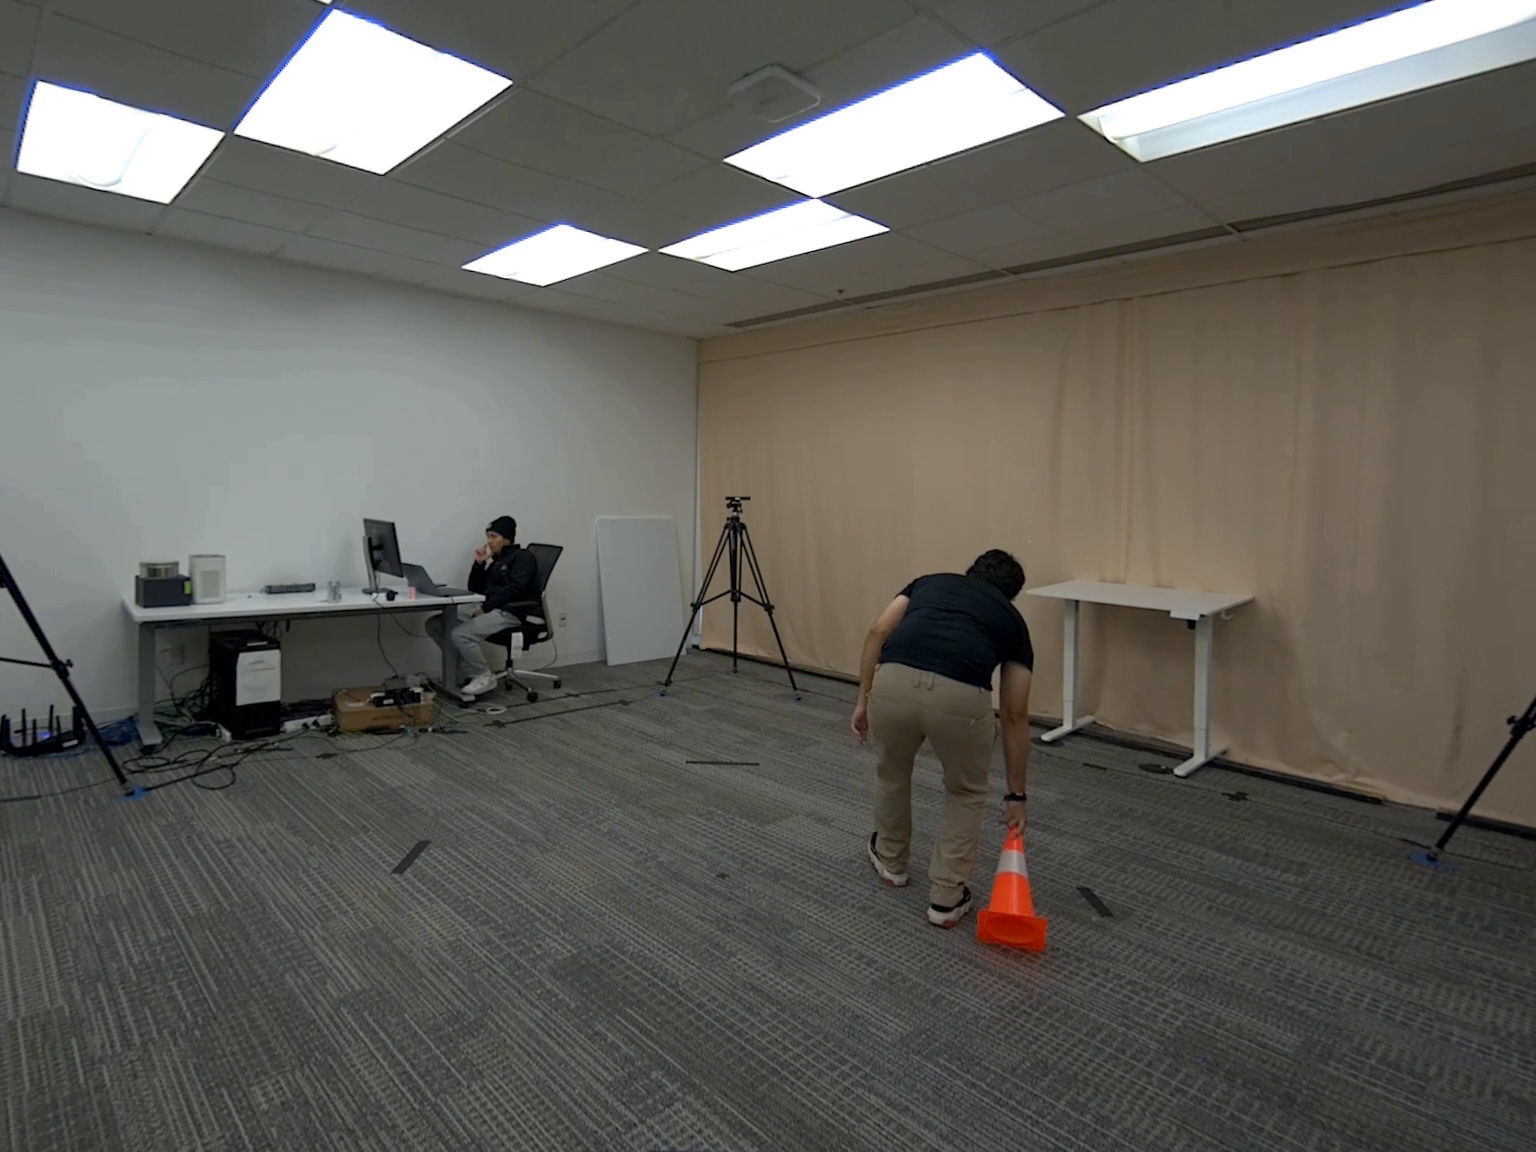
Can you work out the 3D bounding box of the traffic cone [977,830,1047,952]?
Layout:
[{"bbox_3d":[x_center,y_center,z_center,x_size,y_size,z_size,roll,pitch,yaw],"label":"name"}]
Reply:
[{"bbox_3d":[0.789,0.969,2.735,0.205,0.200,0.388,7,43,11],"label":"traffic cone"}]
